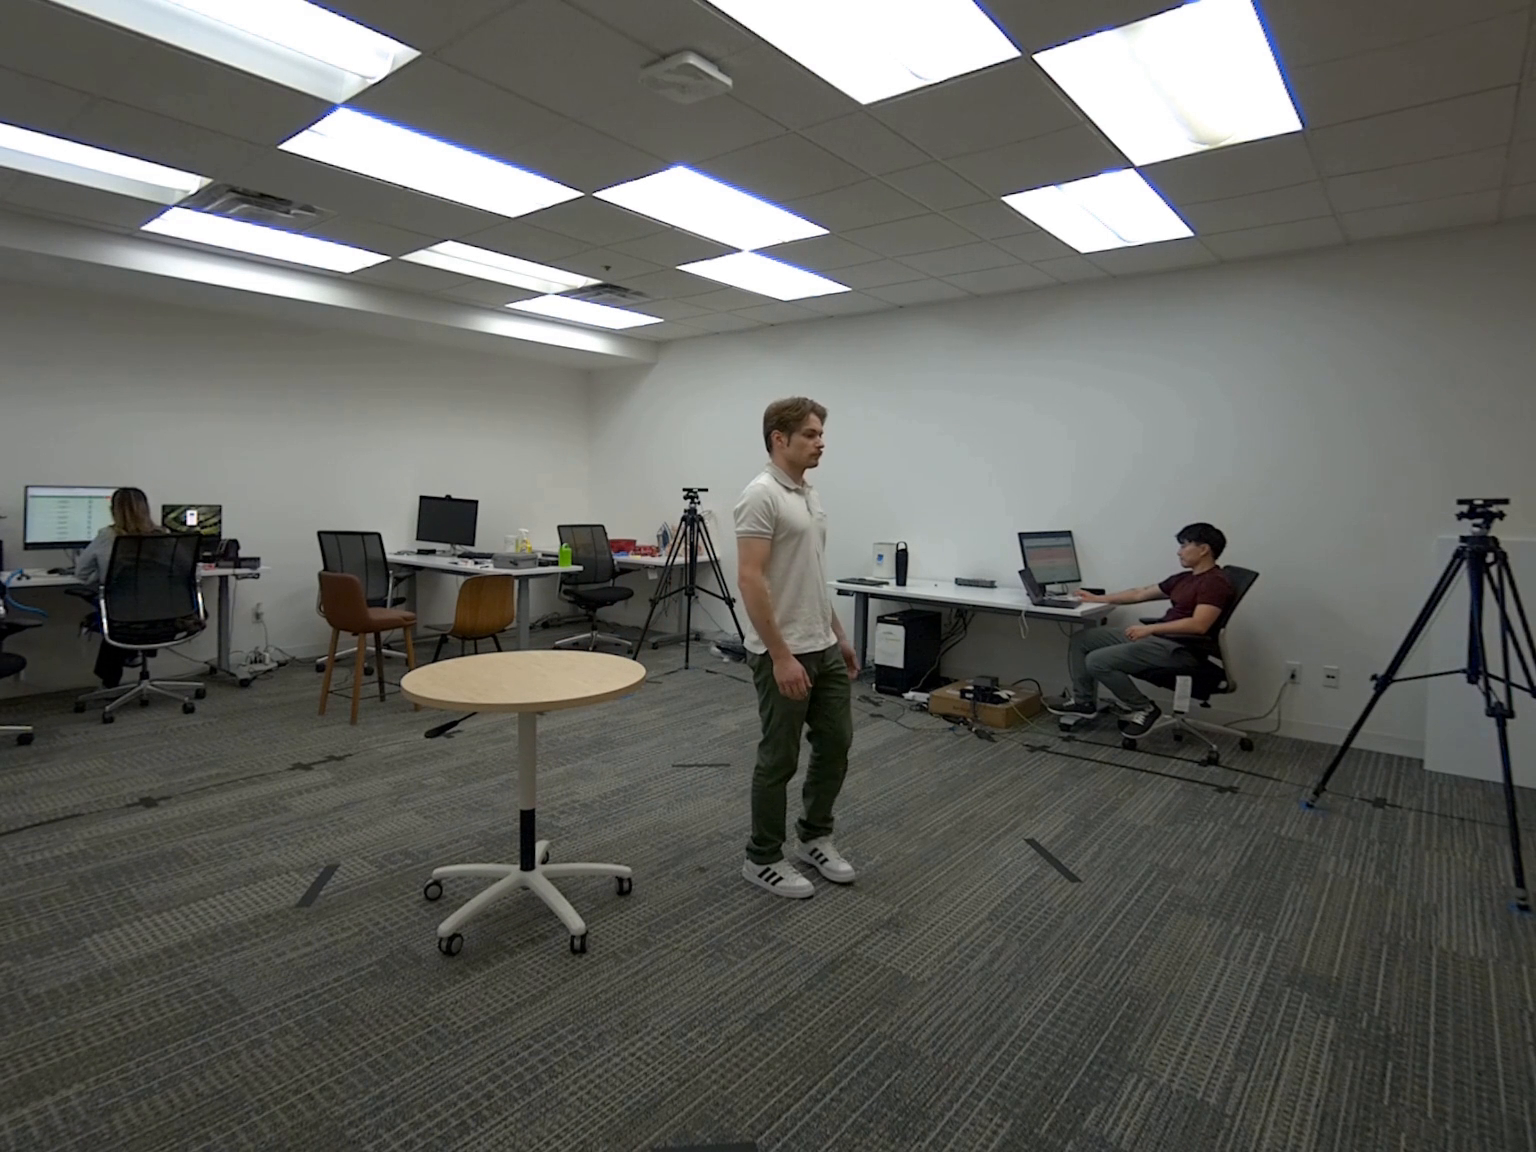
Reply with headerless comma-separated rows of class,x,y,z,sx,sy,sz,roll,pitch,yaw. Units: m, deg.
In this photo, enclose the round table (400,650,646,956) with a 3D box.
round table,-0.795,0.708,2.761,0.763,0.791,0.768,0,5,-2
